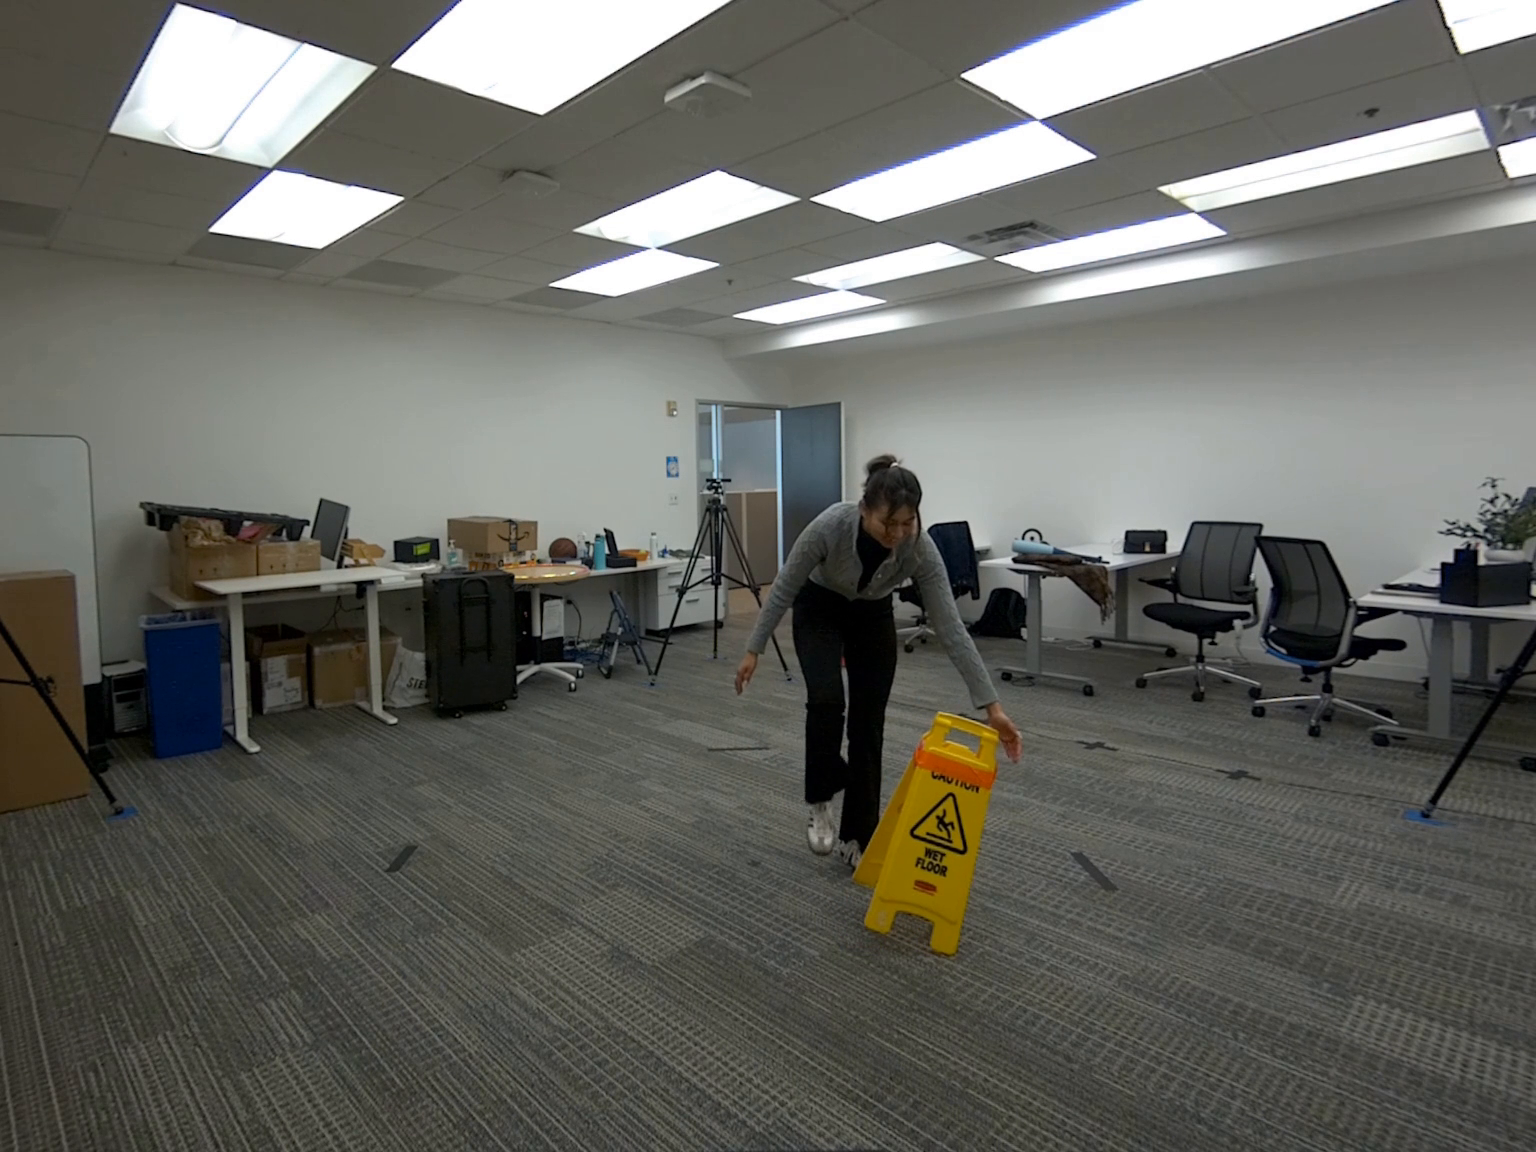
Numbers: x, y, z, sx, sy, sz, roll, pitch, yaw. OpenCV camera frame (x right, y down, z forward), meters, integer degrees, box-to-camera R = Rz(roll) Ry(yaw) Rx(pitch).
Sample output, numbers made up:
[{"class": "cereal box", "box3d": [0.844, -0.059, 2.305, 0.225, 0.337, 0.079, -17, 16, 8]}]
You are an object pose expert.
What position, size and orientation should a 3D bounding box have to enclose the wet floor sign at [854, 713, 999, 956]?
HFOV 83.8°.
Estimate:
[{"class": "wet floor sign", "box3d": [0.503, 0.745, 2.616, 0.282, 0.644, 0.291, 16, 4, -1]}]
